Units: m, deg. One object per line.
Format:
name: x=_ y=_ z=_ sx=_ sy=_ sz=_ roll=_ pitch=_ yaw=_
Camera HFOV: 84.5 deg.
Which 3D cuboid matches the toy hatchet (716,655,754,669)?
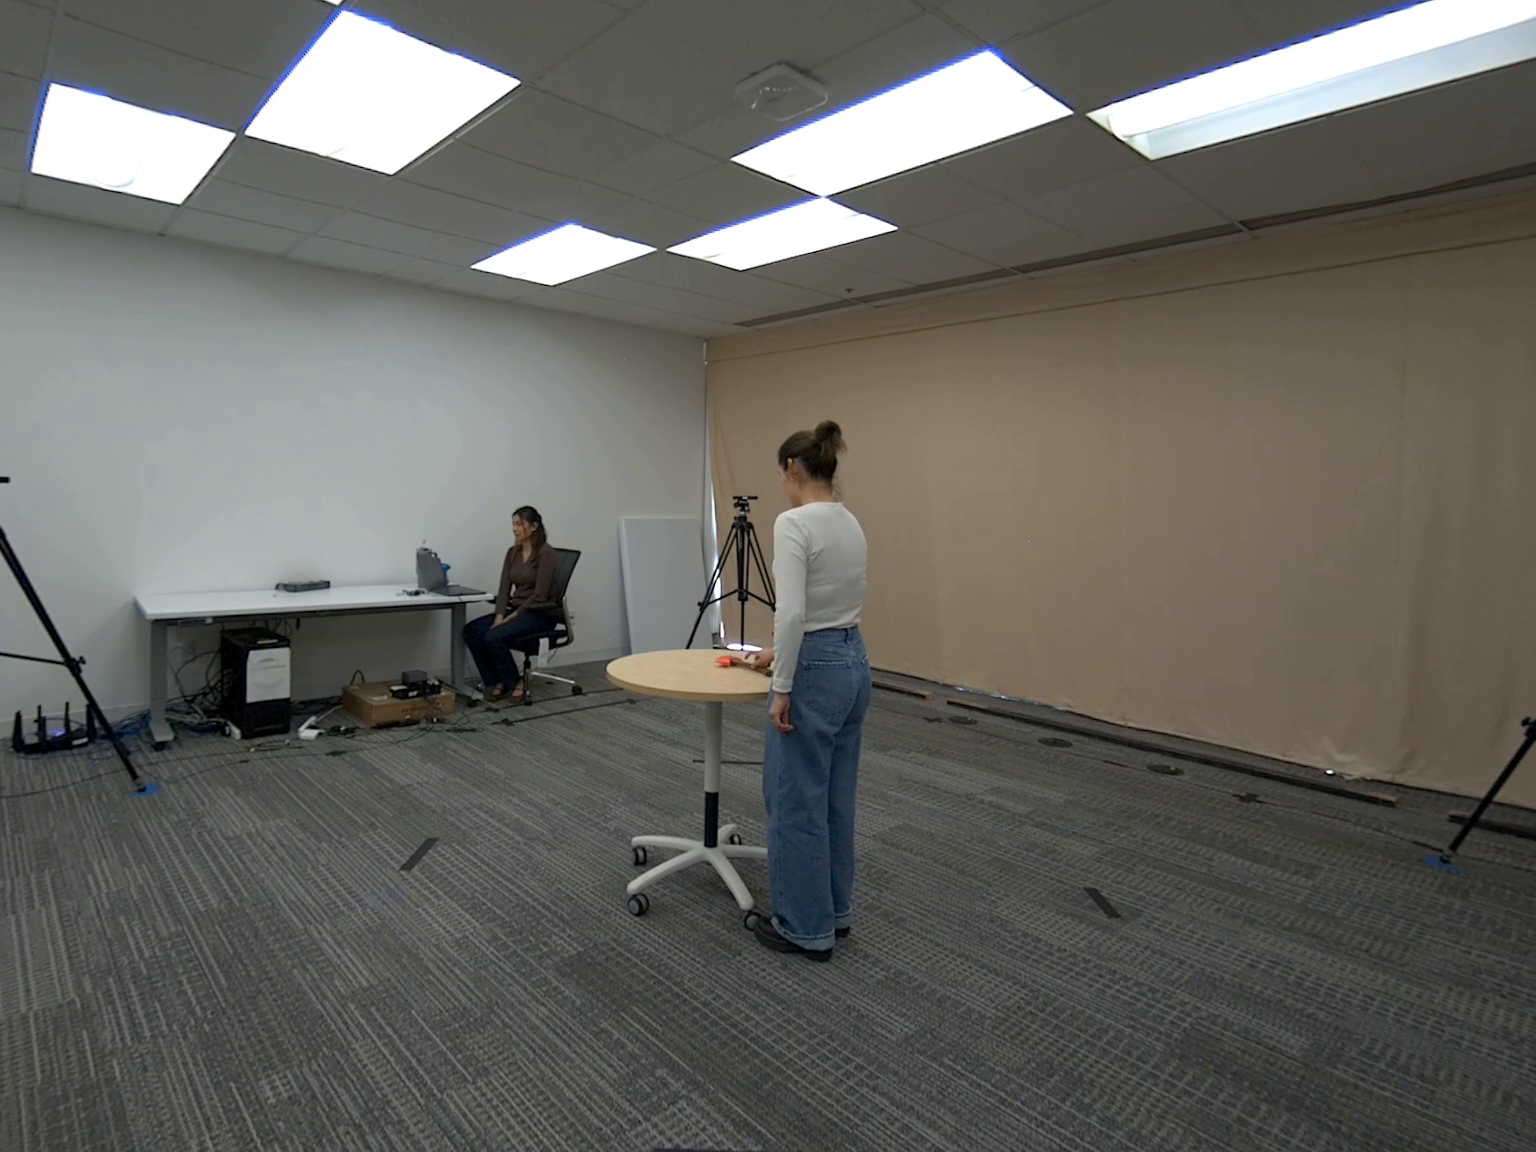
toy hatchet: x=-0.107 y=0.322 z=2.965 sx=0.128 sy=0.029 sz=0.276 roll=7 pitch=3 yaw=-28
